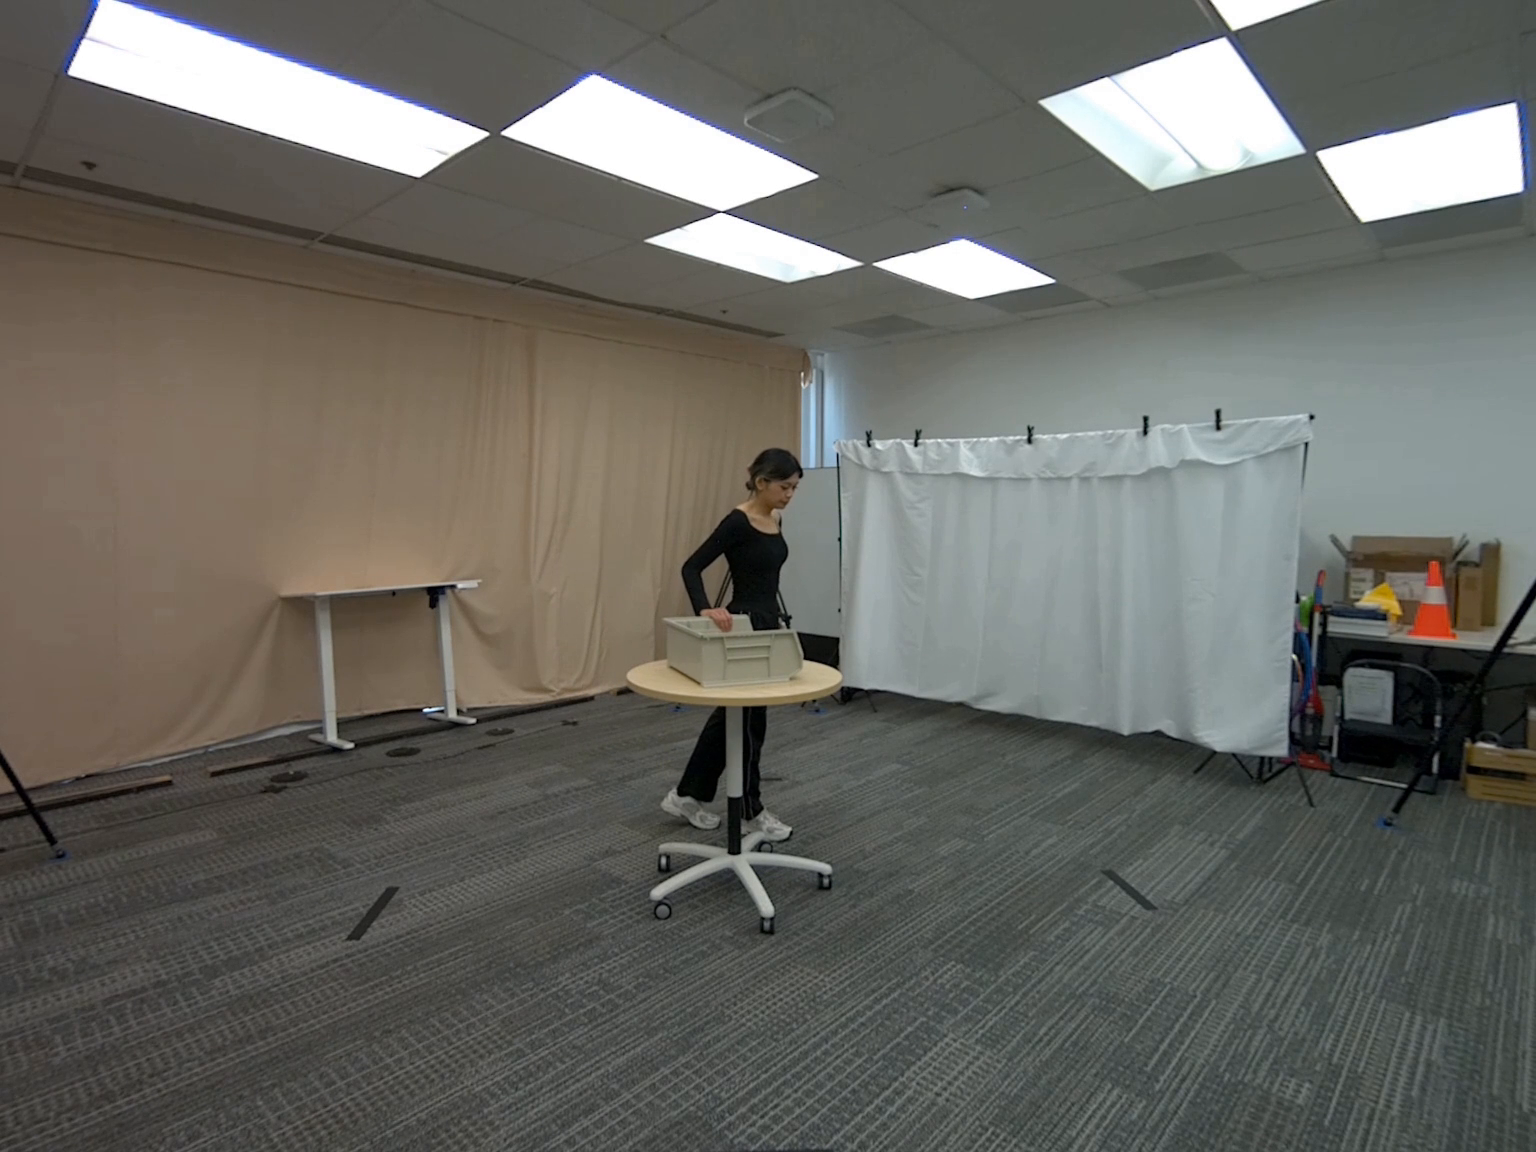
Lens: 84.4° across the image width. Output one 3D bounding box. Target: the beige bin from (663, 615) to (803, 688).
[{"bbox_3d":[-0.135,0.260,3.013,0.369,0.188,0.433,-2,6,-23],"label":"beige bin"}]
